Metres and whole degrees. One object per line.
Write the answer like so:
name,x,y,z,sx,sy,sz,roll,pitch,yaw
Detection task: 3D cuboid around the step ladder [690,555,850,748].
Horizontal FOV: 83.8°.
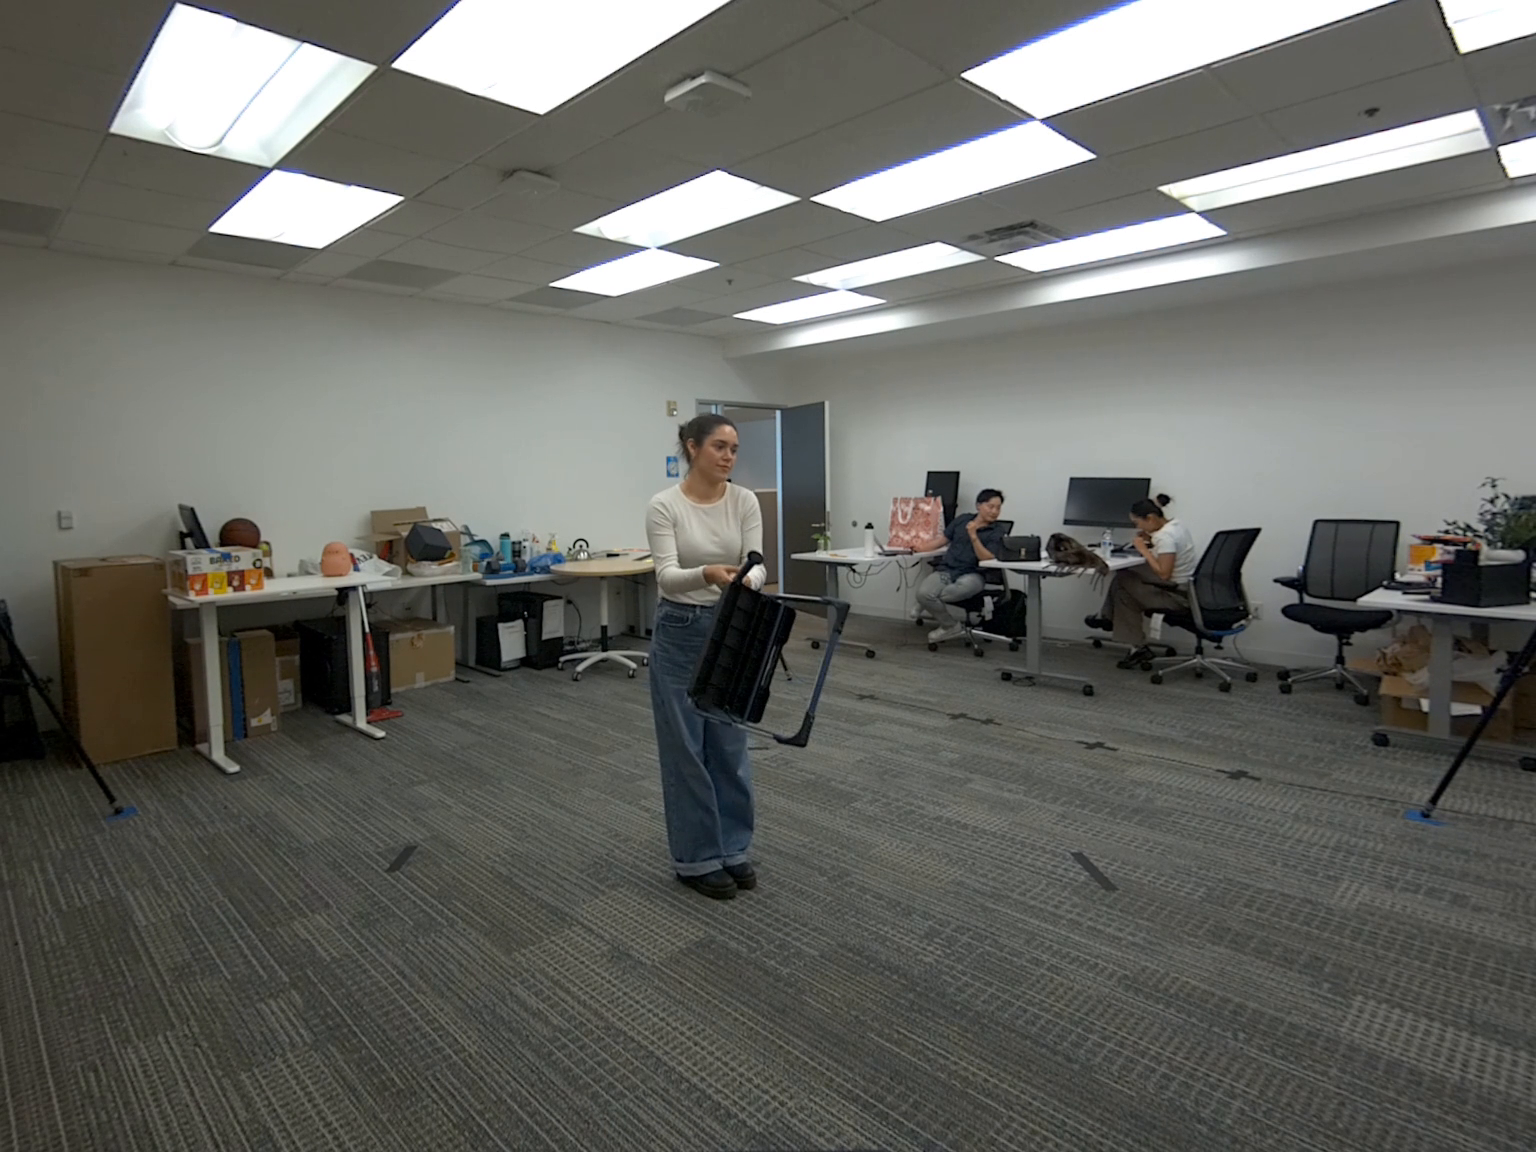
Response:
step ladder,-0.112,0.198,2.484,0.340,0.434,0.618,27,-16,-24
